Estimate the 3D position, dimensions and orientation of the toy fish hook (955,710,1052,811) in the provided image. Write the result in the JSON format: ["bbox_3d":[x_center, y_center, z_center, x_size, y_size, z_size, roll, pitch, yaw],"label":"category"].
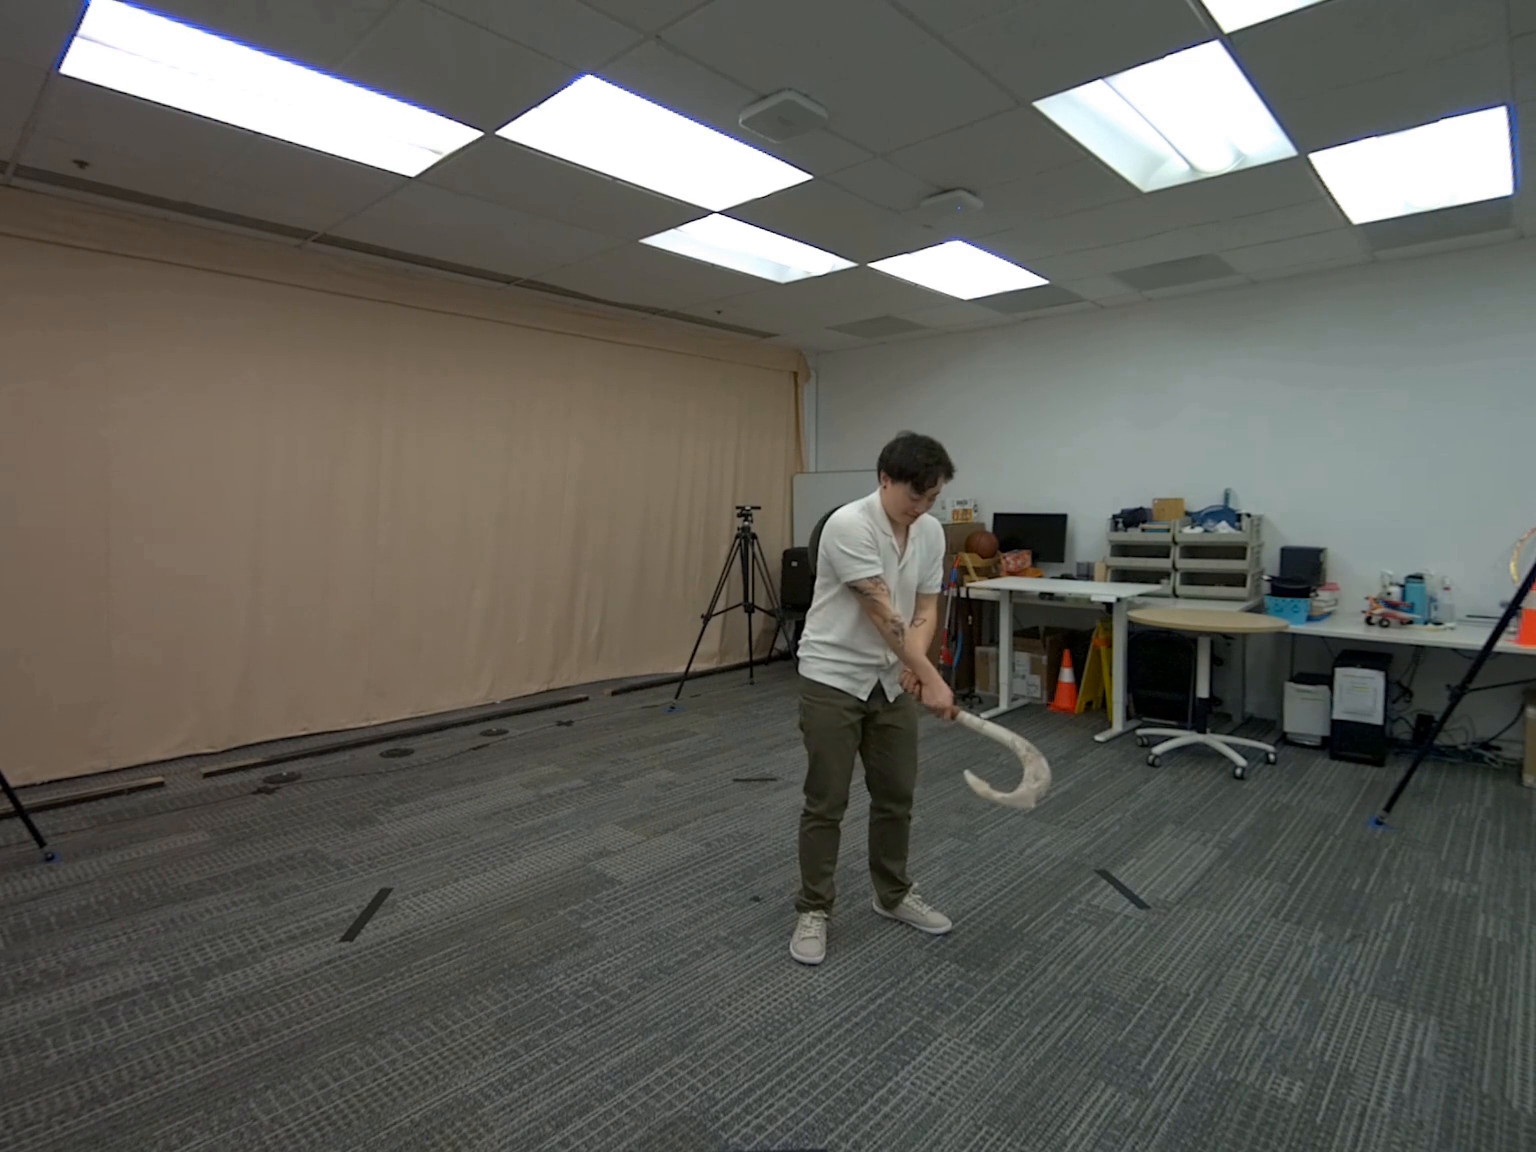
[{"bbox_3d":[0.577,0.465,2.429,0.520,0.047,0.222,32,57,22],"label":"toy fish hook"}]
